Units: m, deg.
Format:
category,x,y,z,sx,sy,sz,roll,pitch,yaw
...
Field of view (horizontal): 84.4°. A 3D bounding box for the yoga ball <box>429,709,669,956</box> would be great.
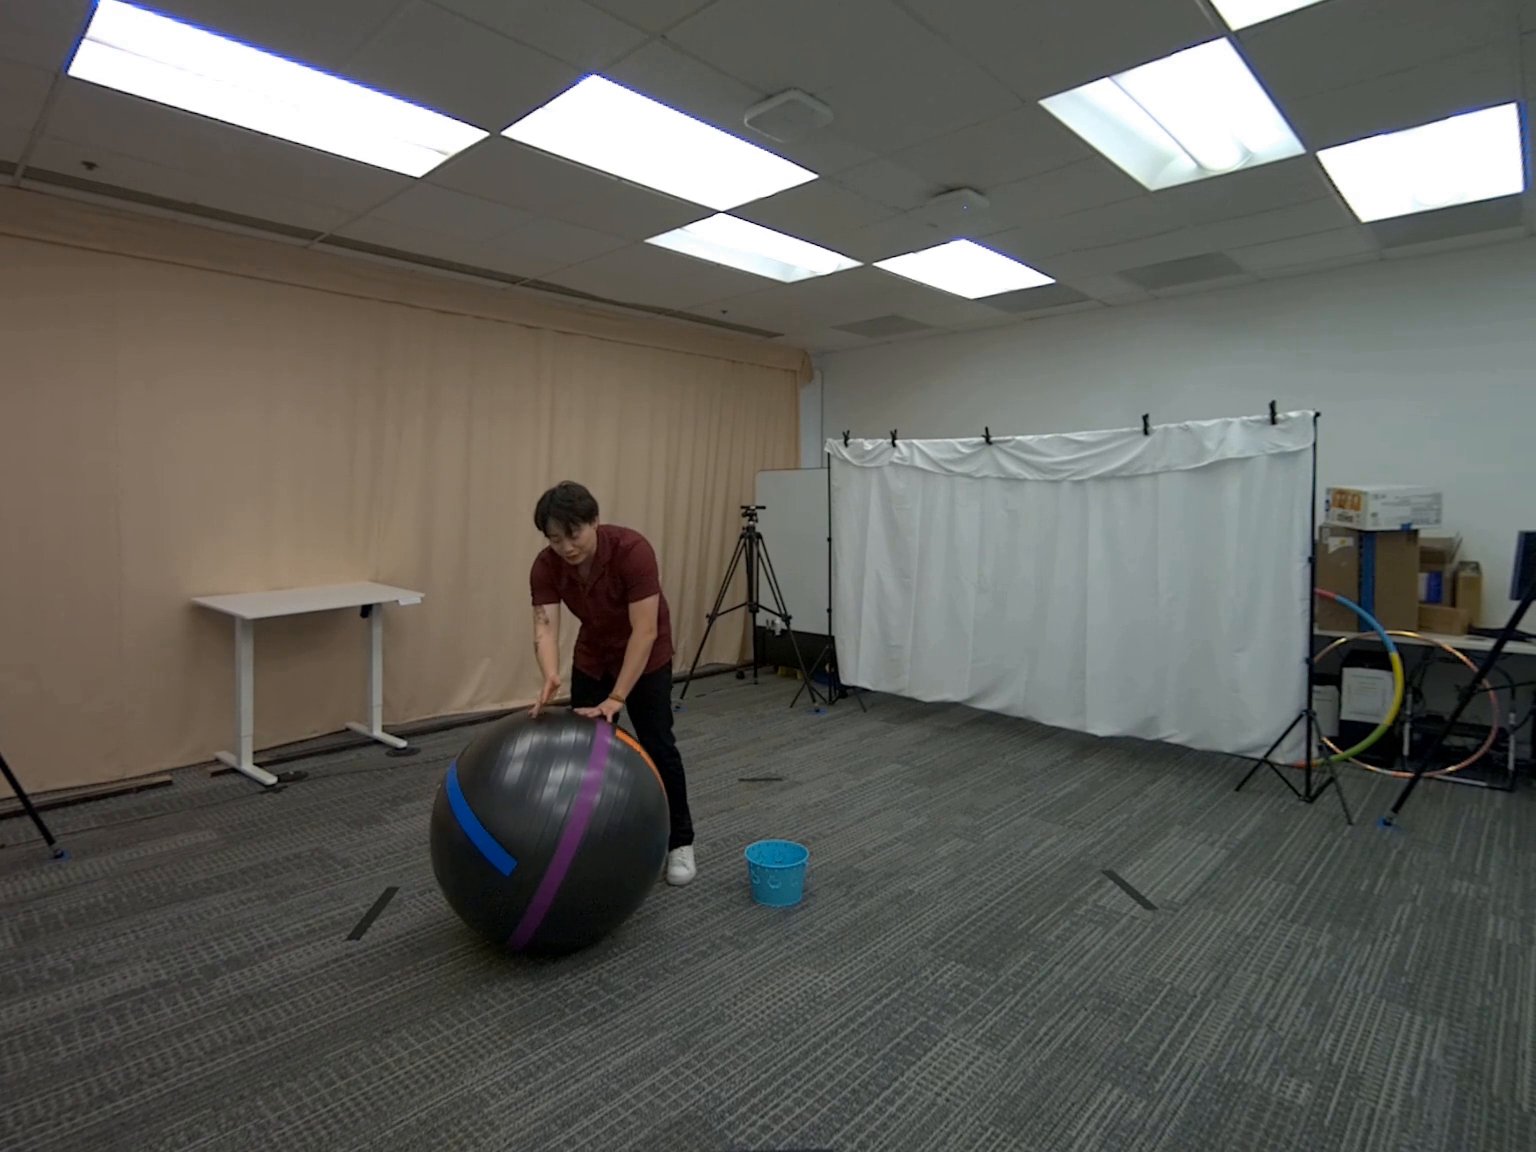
category,x,y,z,sx,sy,sz,roll,pitch,yaw
yoga ball,-0.706,0.819,2.733,0.757,0.756,0.760,0,4,-2
